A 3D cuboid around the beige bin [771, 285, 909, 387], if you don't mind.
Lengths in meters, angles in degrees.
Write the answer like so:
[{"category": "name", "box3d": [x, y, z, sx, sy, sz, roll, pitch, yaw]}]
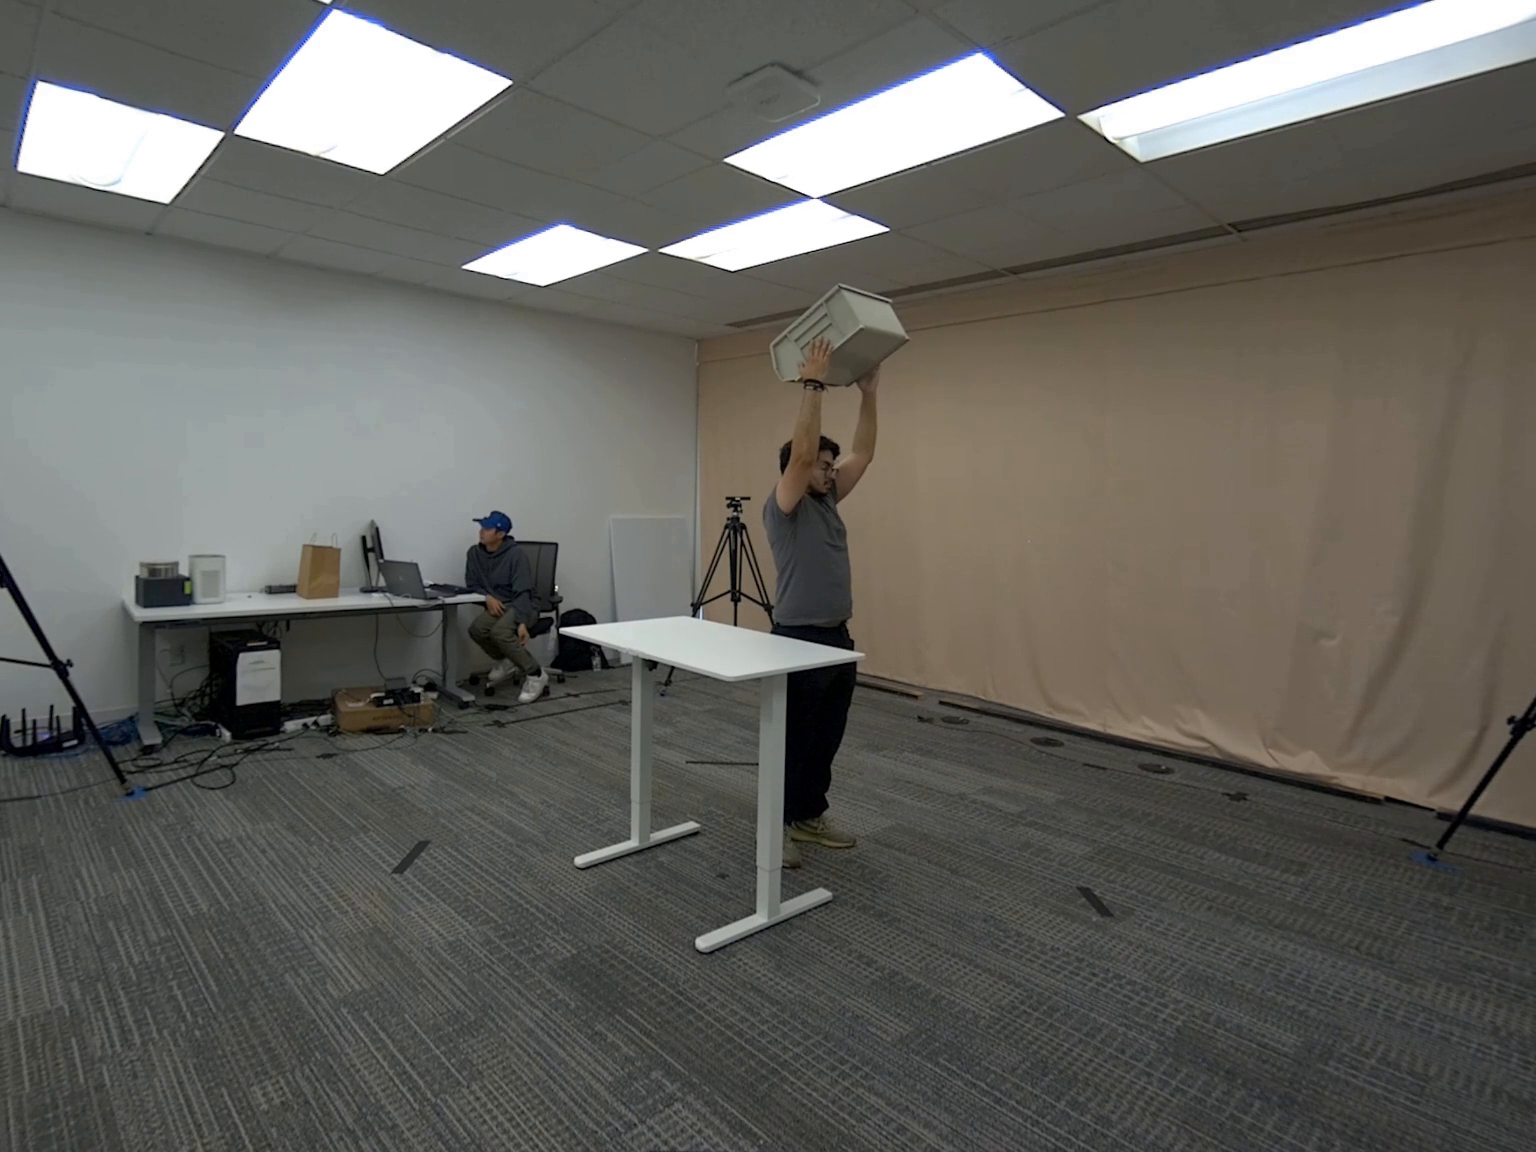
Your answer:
[{"category": "beige bin", "box3d": [0.270, -0.869, 3.158, 0.380, 0.191, 0.415, -33, -11, 32]}]
